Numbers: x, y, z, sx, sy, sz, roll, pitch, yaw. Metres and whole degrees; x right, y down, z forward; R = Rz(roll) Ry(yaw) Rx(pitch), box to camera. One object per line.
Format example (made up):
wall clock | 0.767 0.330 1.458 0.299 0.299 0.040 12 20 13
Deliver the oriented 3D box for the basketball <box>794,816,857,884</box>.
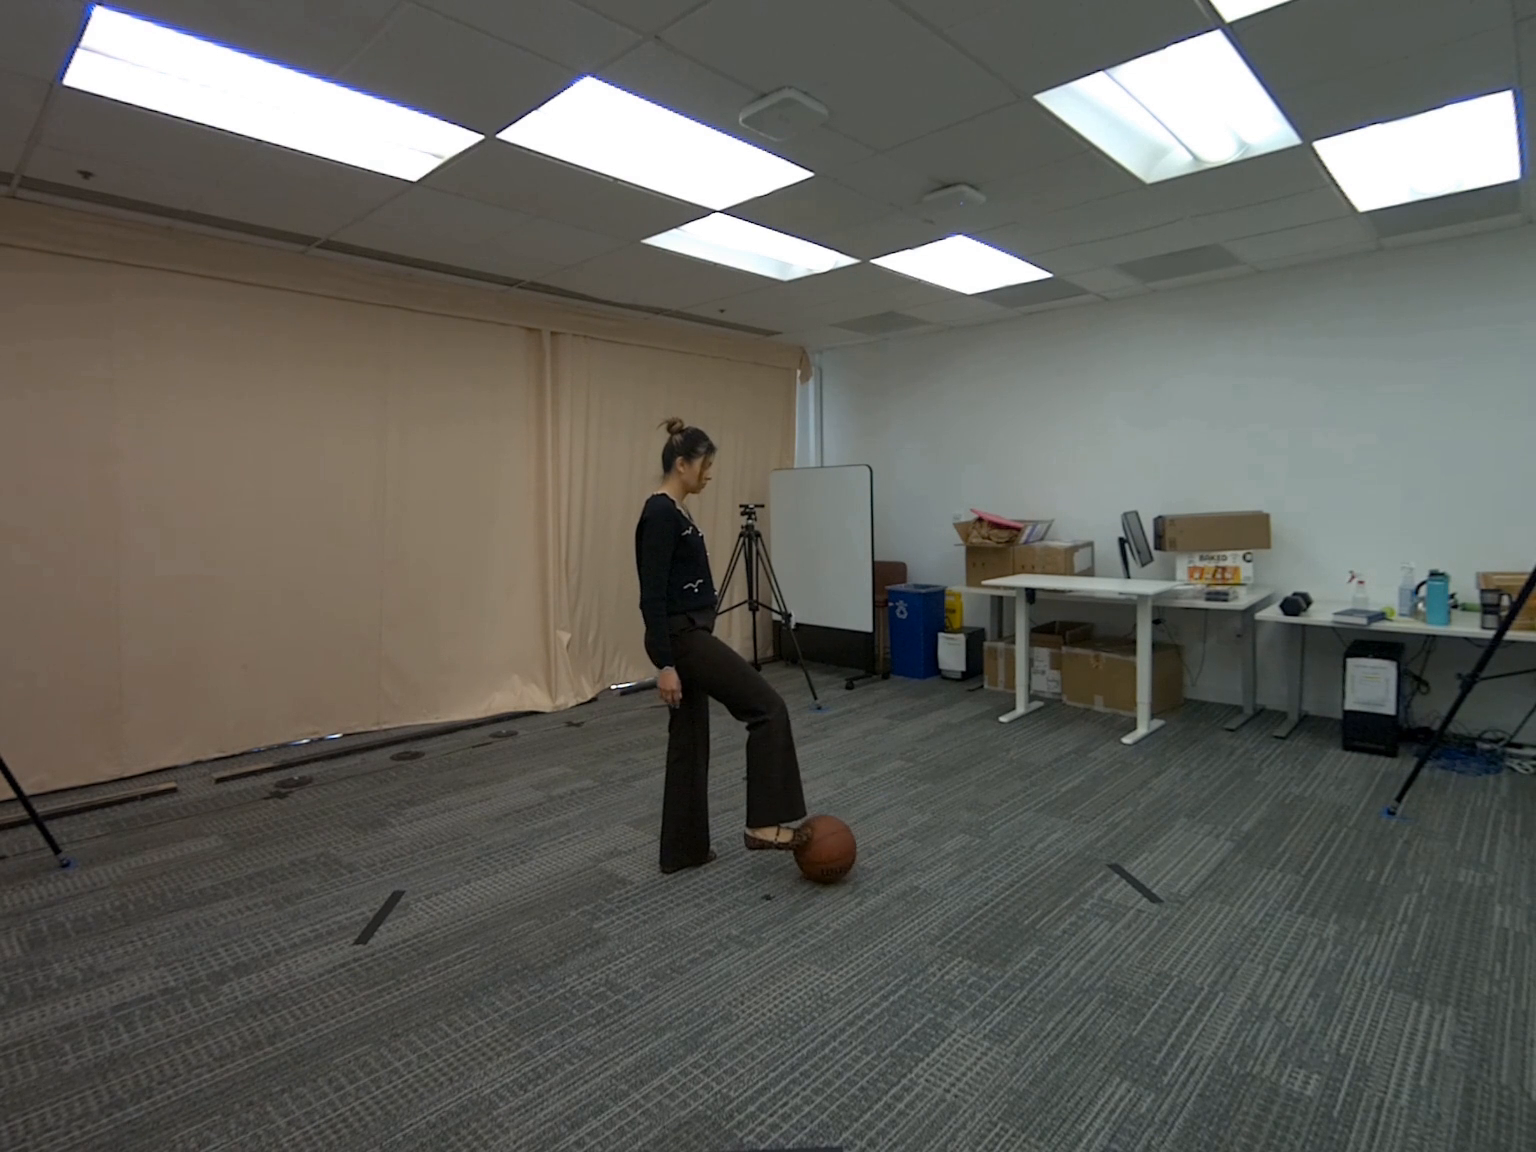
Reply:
basketball | 0.217 1.006 3.124 0.236 0.235 0.237 -1 4 -2
